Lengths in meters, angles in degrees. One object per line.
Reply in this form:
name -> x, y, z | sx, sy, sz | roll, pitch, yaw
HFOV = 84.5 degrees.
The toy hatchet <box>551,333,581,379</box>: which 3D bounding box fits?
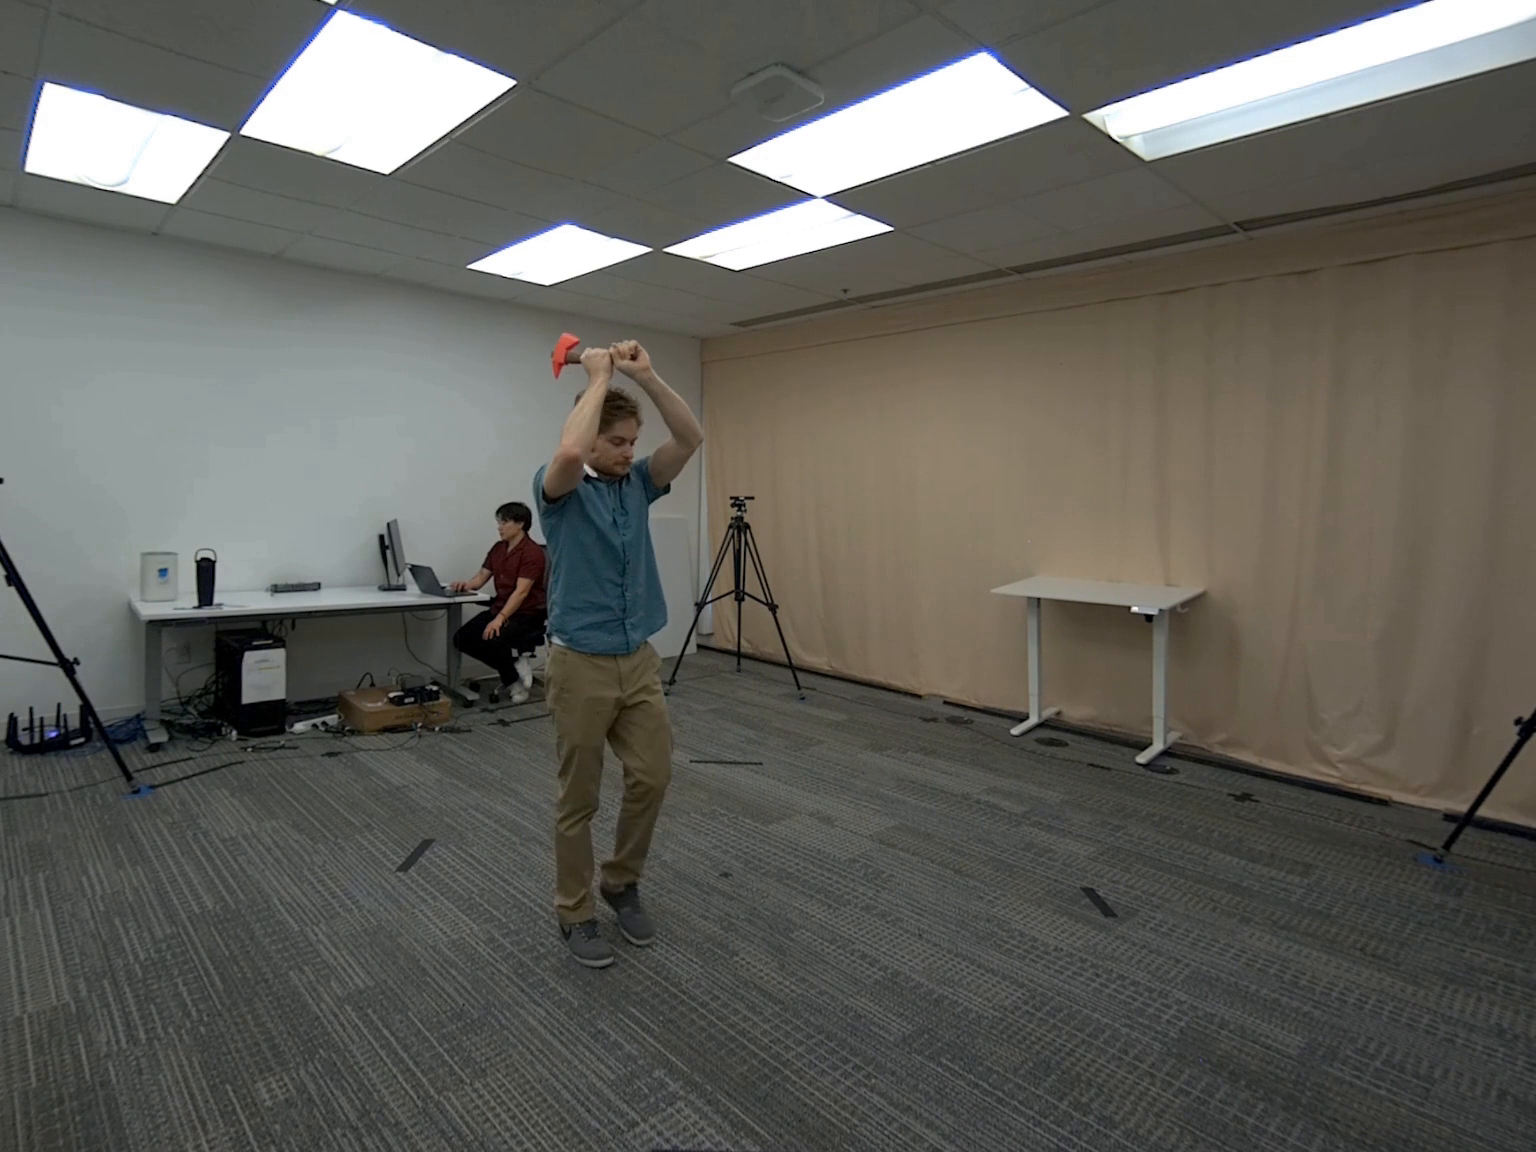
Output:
toy hatchet -> -0.512, -0.657, 2.434 | 0.272, 0.132, 0.029 | -11, -6, 13
